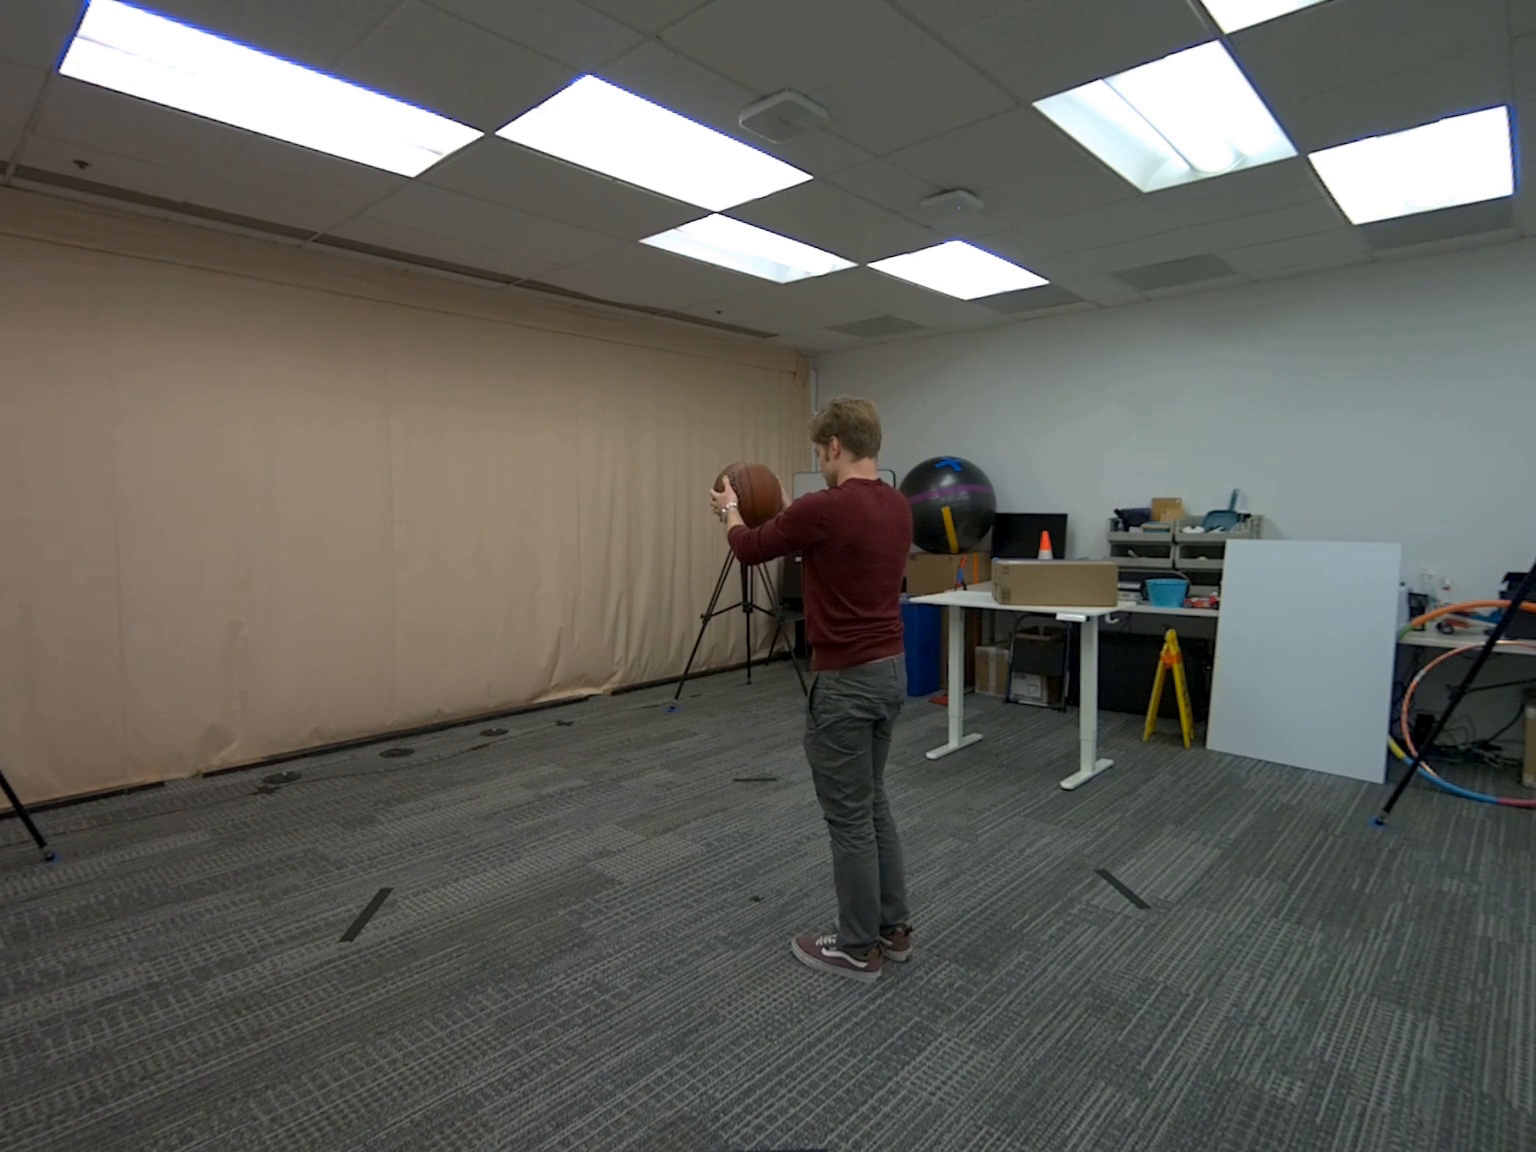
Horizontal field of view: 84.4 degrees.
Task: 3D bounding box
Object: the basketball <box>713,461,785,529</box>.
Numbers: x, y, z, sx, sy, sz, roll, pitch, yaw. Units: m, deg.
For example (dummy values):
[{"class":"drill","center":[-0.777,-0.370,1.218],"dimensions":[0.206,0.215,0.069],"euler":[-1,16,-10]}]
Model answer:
[{"class":"basketball","center":[-0.073,-0.271,2.907],"dimensions":[0.236,0.235,0.237],"euler":[0,4,-2]}]
